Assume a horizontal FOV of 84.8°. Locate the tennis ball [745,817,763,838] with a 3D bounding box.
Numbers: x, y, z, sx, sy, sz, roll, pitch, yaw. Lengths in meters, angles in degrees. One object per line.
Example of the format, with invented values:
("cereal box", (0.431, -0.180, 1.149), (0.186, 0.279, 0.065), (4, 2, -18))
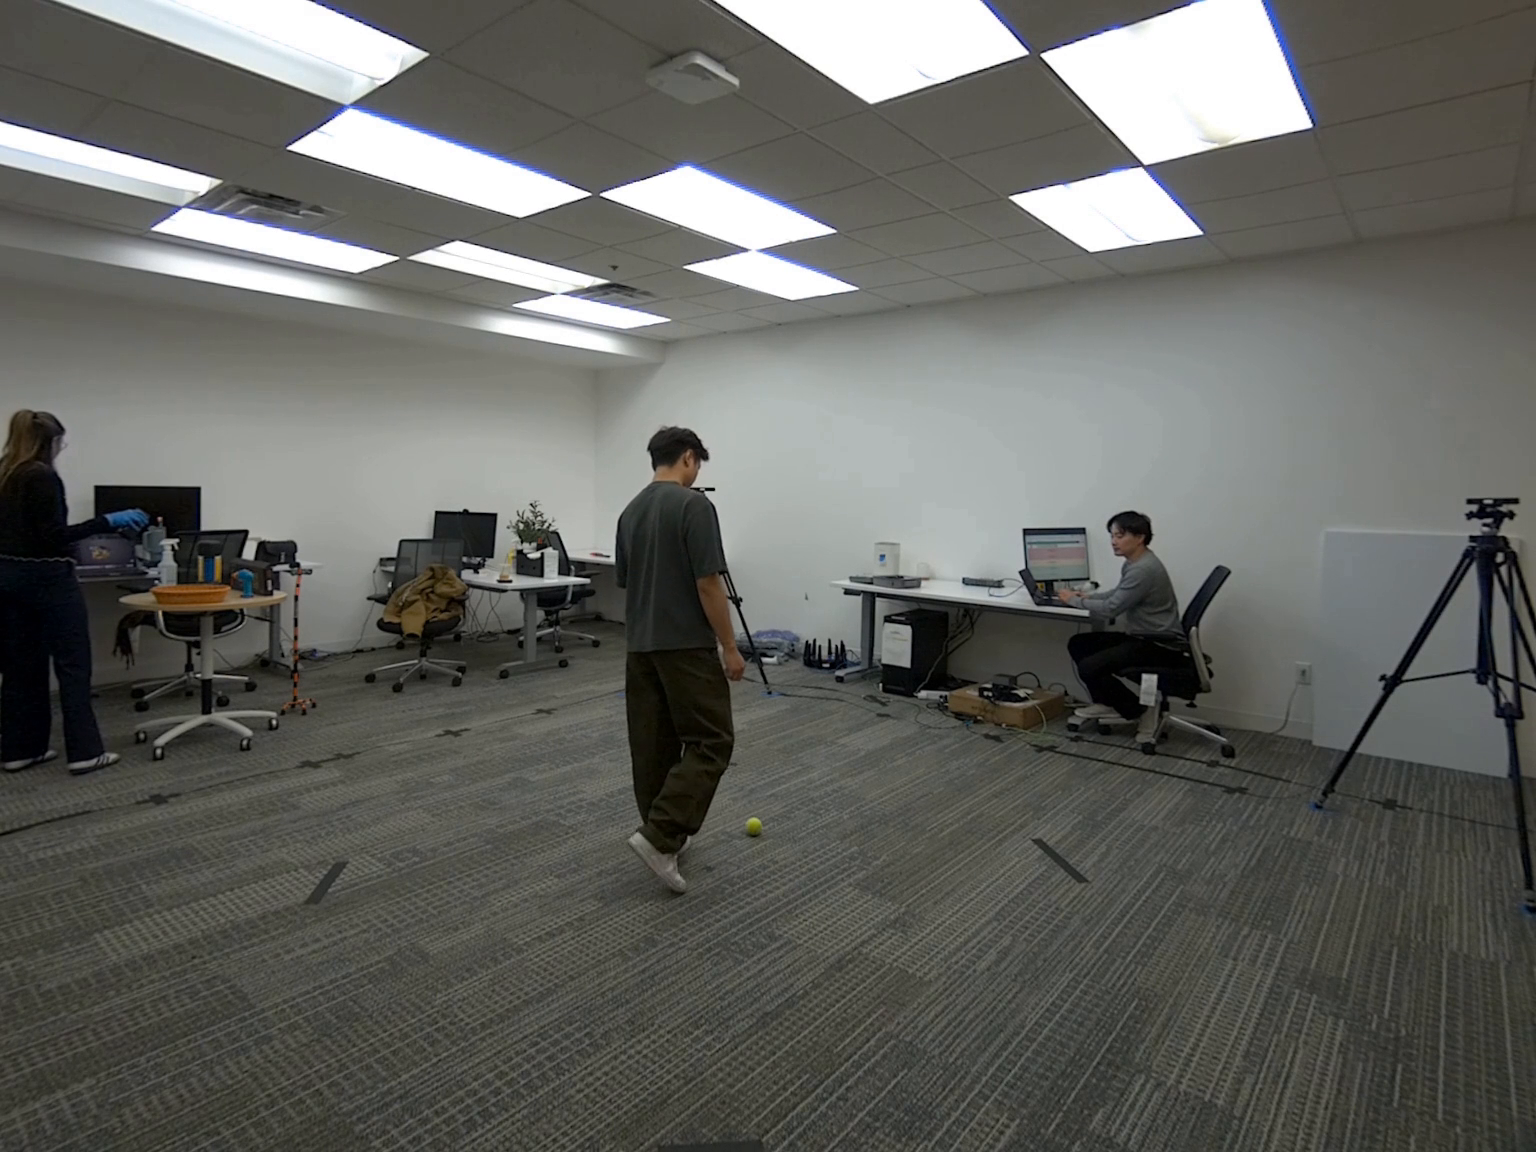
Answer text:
("tennis ball", (-0.070, 0.994, 3.429), (0.066, 0.066, 0.067), (1, 4, -2))
